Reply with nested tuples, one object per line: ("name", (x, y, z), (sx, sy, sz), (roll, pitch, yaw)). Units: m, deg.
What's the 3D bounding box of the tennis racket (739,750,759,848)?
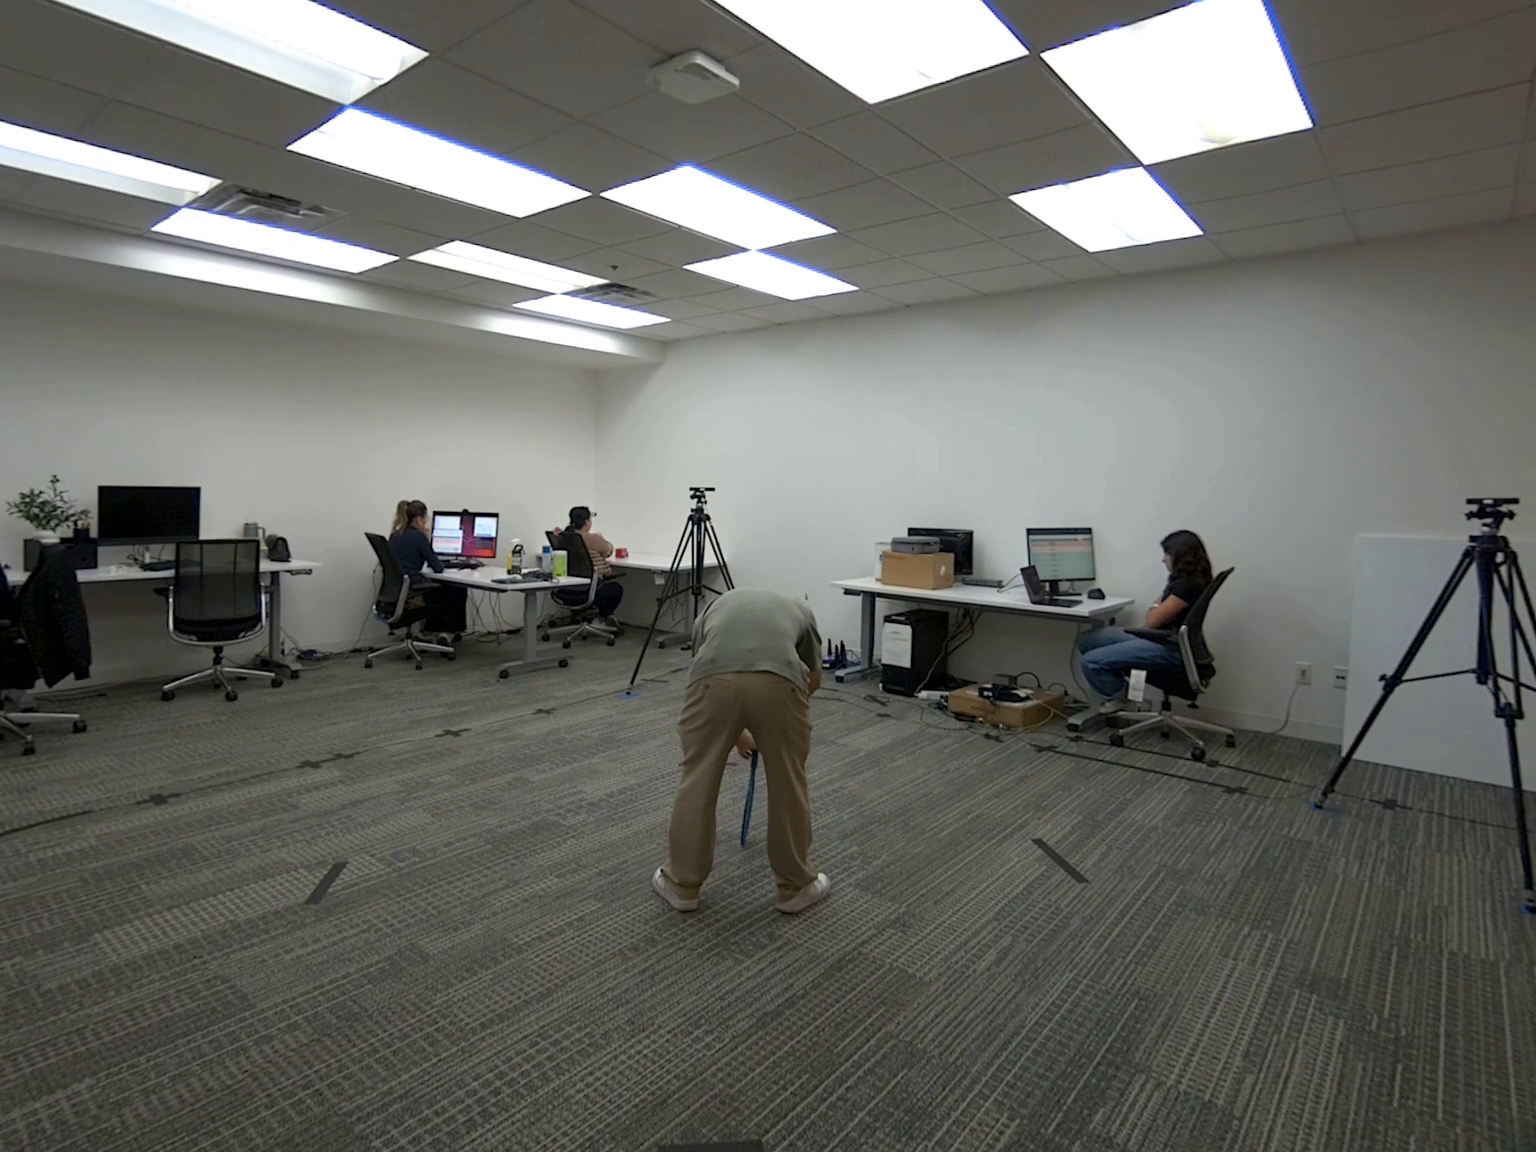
("tennis racket", (-0.081, 0.837, 3.312), (0.032, 0.430, 0.212), (8, 7, 9))
